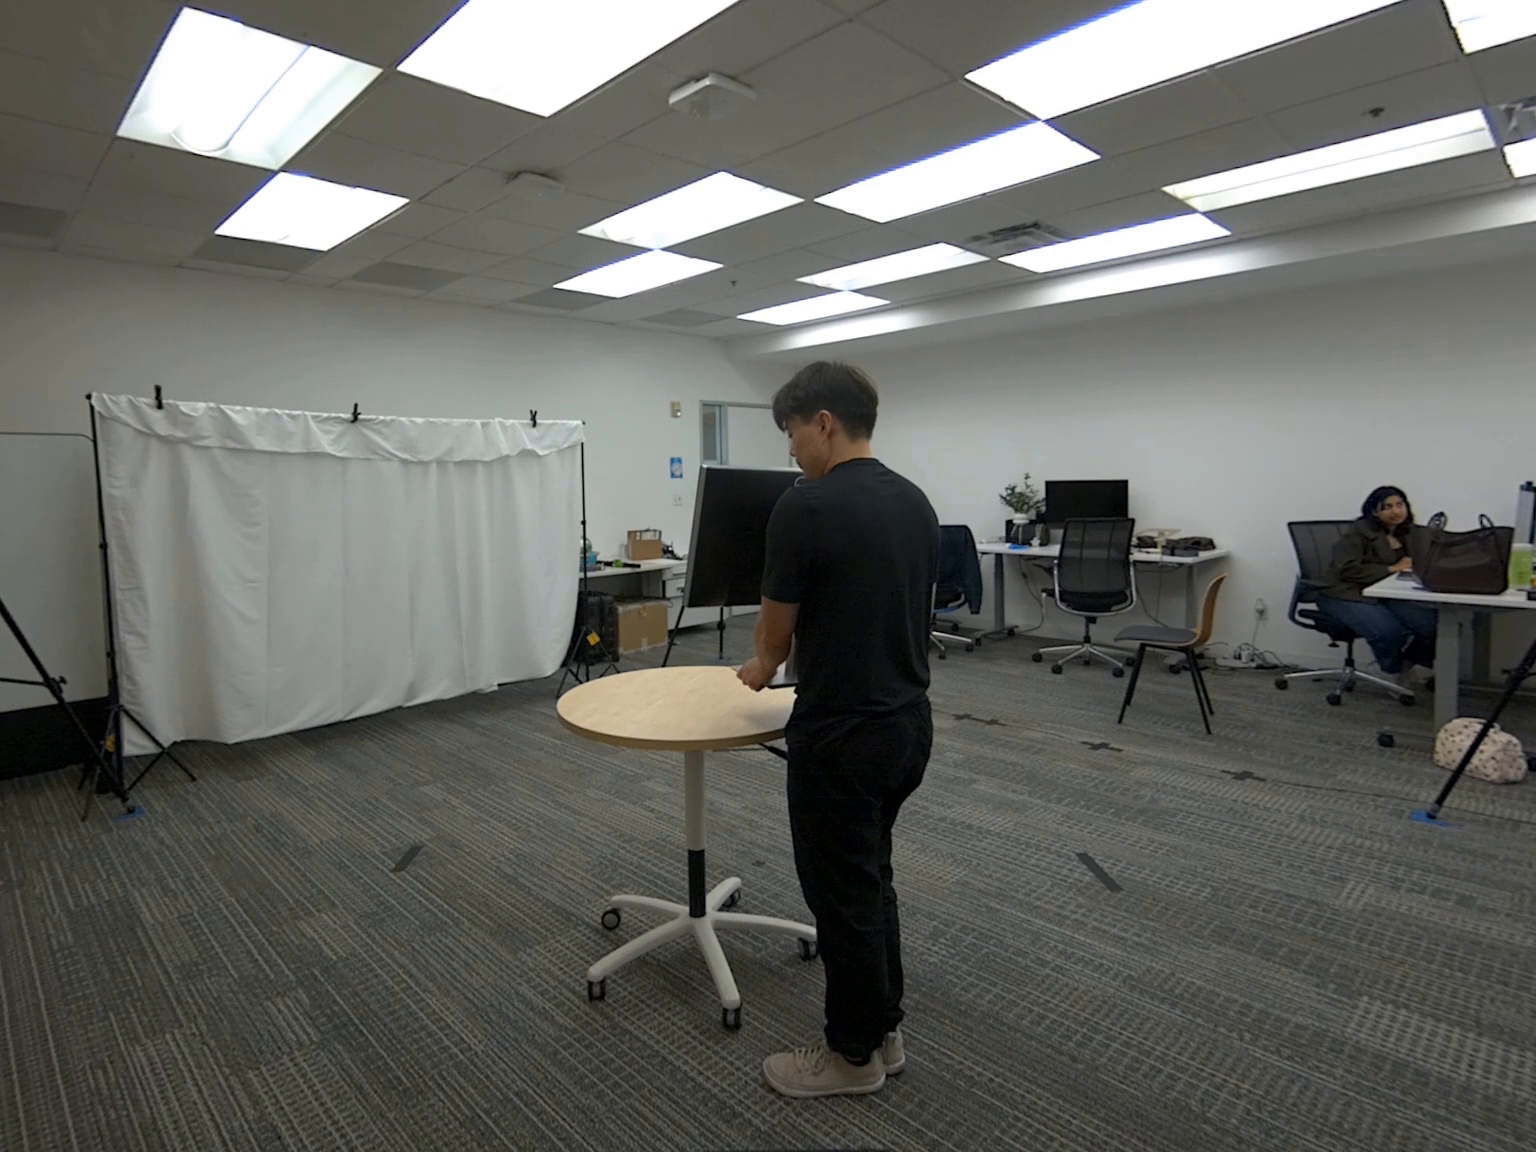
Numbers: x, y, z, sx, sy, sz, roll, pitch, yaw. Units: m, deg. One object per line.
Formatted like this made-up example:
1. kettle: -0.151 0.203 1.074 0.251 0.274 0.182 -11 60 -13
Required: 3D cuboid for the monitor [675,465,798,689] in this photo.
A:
1. monitor: 0.070 -0.007 2.209 0.525 0.520 0.192 -2 5 -32
